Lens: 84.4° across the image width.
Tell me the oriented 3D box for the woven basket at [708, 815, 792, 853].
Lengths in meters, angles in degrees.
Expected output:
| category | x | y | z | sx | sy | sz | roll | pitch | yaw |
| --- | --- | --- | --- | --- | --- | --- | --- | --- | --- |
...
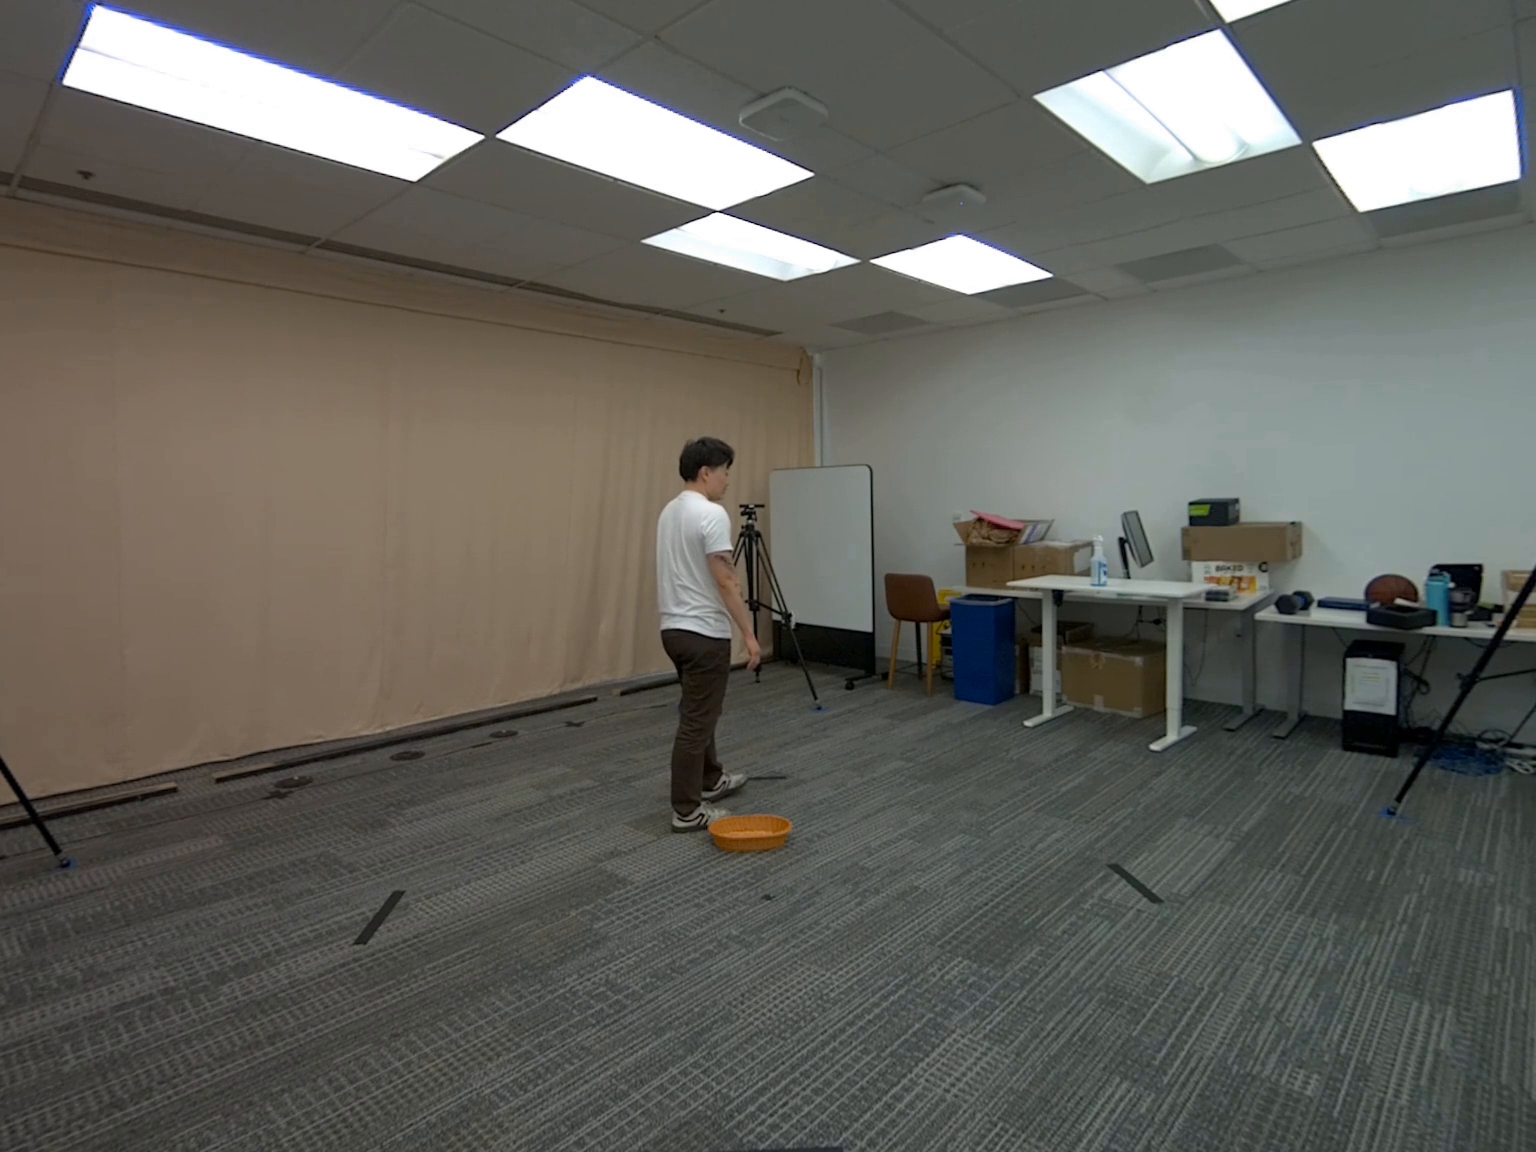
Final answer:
| category | x | y | z | sx | sy | sz | roll | pitch | yaw |
| --- | --- | --- | --- | --- | --- | --- | --- | --- | --- |
| woven basket | -0.073 | 1.059 | 3.469 | 0.348 | 0.073 | 0.254 | -2 | 4 | -6 |
